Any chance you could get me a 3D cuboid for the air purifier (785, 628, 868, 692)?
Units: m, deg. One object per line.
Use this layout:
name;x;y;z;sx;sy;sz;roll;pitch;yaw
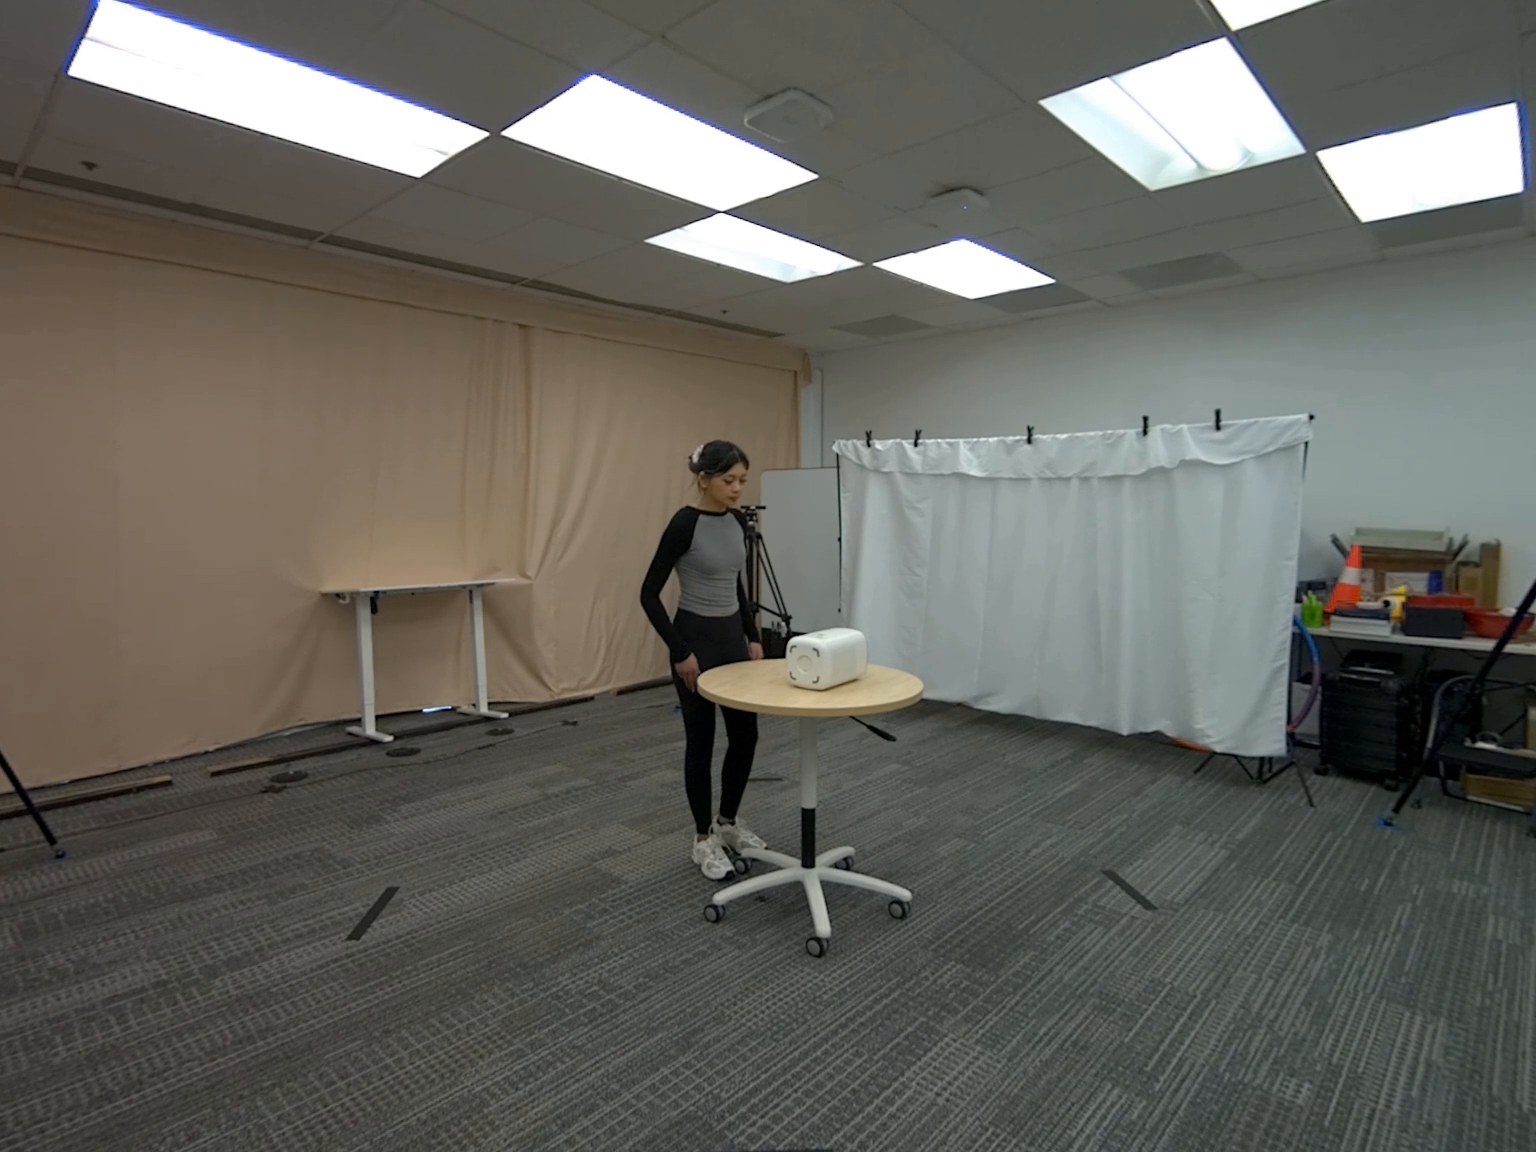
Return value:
air purifier;0.198;0.275;2.832;0.177;0.171;0.257;5;7;38
